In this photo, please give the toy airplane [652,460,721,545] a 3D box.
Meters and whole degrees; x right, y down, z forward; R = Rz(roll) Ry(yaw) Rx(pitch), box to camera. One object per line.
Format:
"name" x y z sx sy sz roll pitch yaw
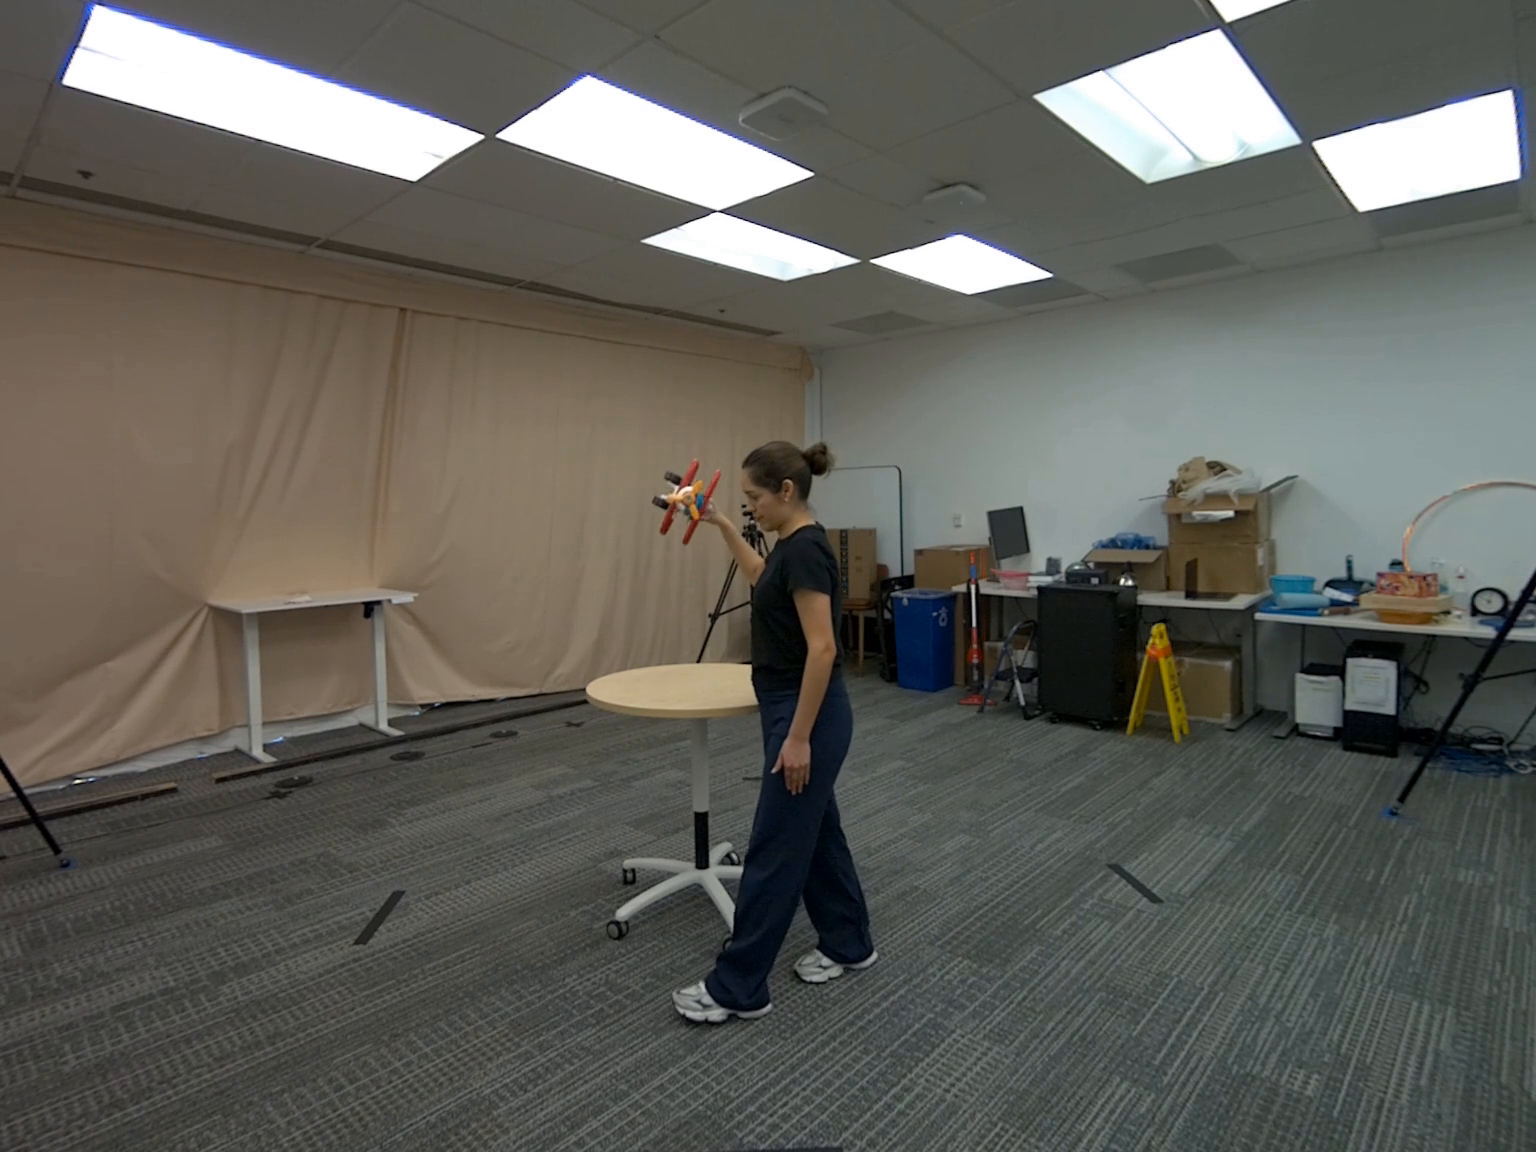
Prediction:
"toy airplane" -0.232 -0.239 2.660 0.159 0.249 0.256 23 23 14
